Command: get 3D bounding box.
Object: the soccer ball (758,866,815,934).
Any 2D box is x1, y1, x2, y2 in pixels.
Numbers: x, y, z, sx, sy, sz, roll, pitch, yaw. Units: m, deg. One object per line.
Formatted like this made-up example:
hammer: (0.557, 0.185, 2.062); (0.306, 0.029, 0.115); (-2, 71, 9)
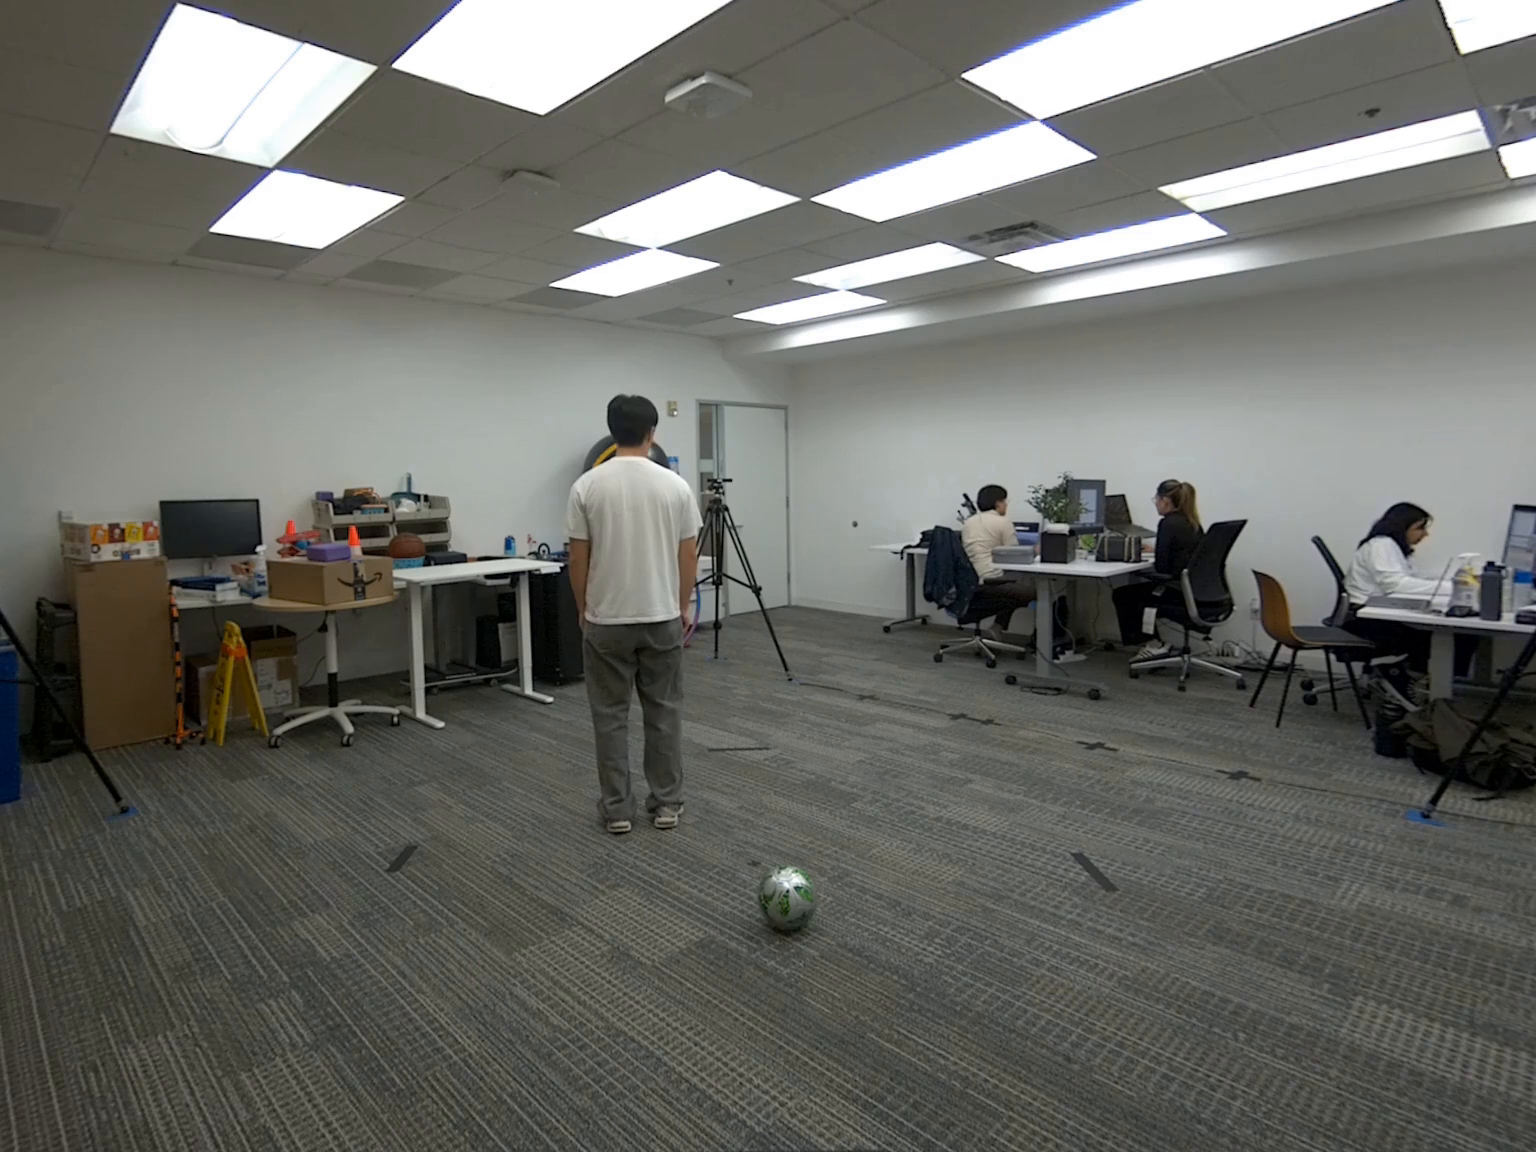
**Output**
soccer ball: (0.067, 1.003, 2.664); (0.187, 0.187, 0.188); (-1, 5, -2)
